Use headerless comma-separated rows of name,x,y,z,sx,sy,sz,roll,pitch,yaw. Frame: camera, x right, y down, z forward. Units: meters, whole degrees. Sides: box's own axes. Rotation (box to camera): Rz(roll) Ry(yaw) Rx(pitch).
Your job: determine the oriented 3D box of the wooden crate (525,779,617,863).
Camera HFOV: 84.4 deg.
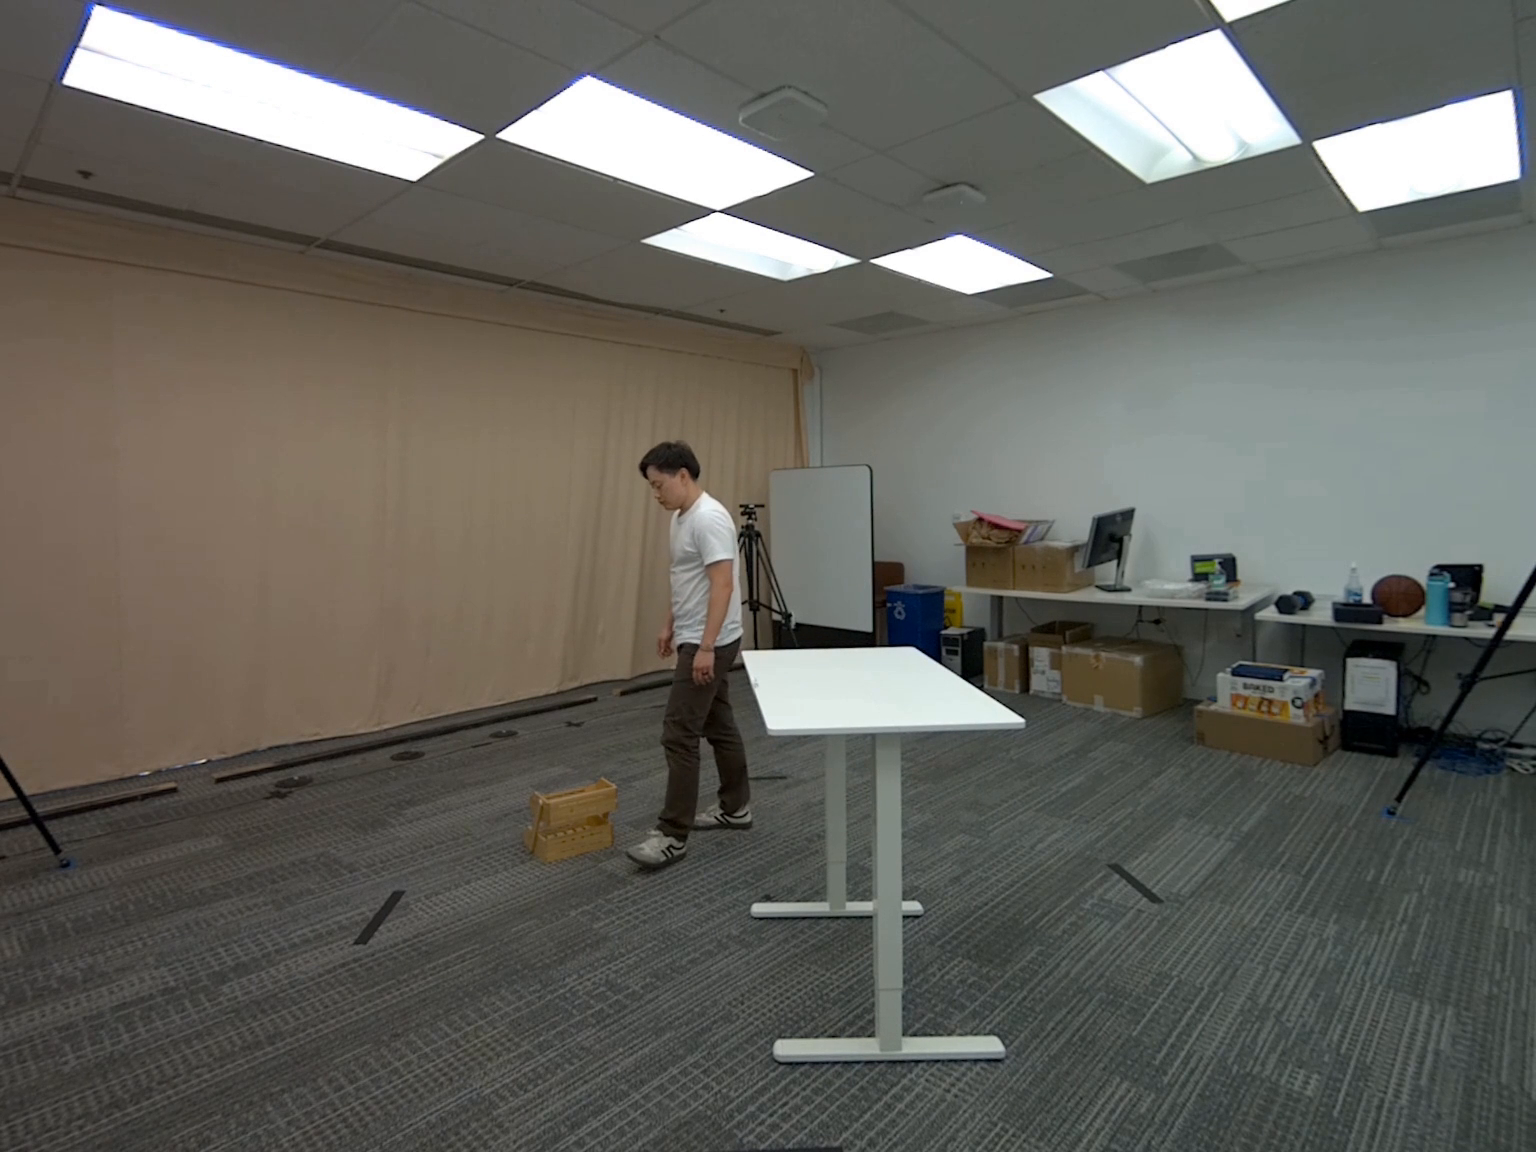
wooden crate,-0.823,0.986,3.473,0.315,0.272,0.311,-4,5,-35
